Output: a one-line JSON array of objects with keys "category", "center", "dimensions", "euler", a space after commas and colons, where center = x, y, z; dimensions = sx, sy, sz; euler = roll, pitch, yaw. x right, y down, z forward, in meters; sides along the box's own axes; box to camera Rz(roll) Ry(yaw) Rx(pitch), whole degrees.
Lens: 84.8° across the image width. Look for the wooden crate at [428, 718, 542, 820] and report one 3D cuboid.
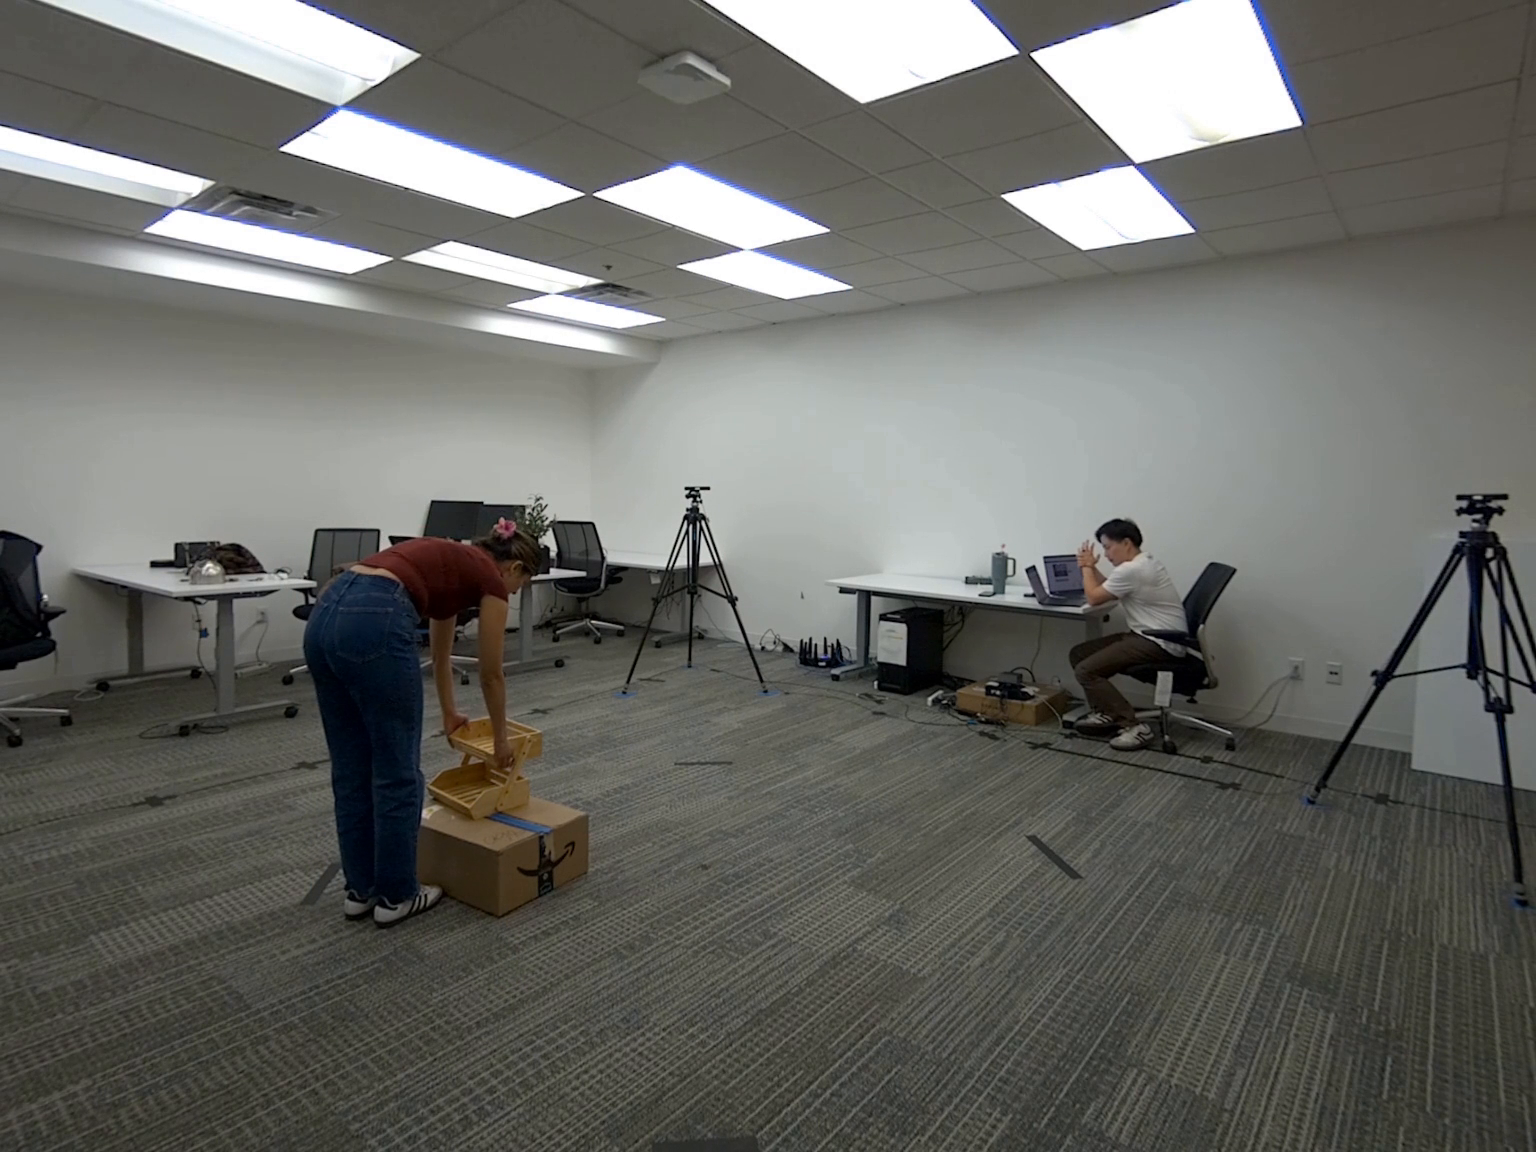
[{"category": "wooden crate", "center": [-1.074, 0.699, 3.169], "dimensions": [0.336, 0.272, 0.293], "euler": [6, 5, 40]}]
